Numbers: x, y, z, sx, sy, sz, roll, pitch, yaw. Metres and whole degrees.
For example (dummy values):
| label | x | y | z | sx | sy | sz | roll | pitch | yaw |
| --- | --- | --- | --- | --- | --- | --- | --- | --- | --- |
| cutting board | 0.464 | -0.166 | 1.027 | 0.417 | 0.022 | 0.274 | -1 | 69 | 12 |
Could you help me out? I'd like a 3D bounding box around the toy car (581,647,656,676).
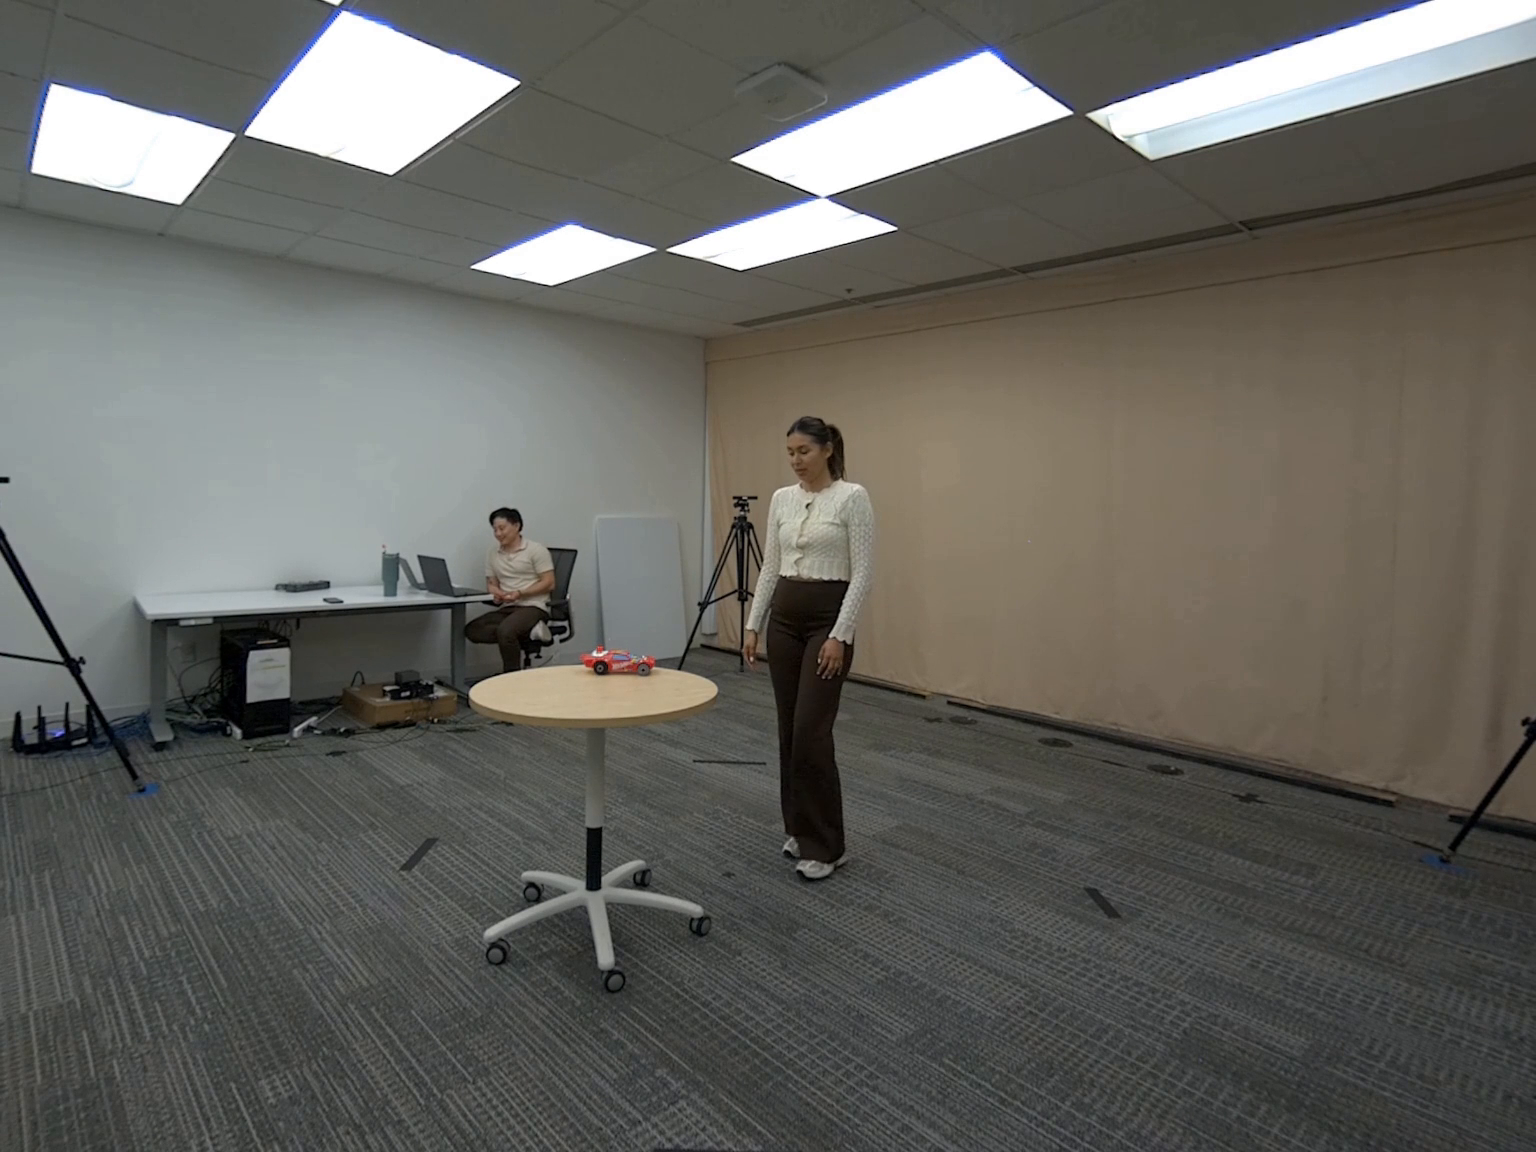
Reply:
| label | x | y | z | sx | sy | sz | roll | pitch | yaw |
| --- | --- | --- | --- | --- | --- | --- | --- | --- | --- |
| toy car | -0.538 | 0.298 | 2.888 | 0.254 | 0.083 | 0.130 | 14 | 3 | 0 |
